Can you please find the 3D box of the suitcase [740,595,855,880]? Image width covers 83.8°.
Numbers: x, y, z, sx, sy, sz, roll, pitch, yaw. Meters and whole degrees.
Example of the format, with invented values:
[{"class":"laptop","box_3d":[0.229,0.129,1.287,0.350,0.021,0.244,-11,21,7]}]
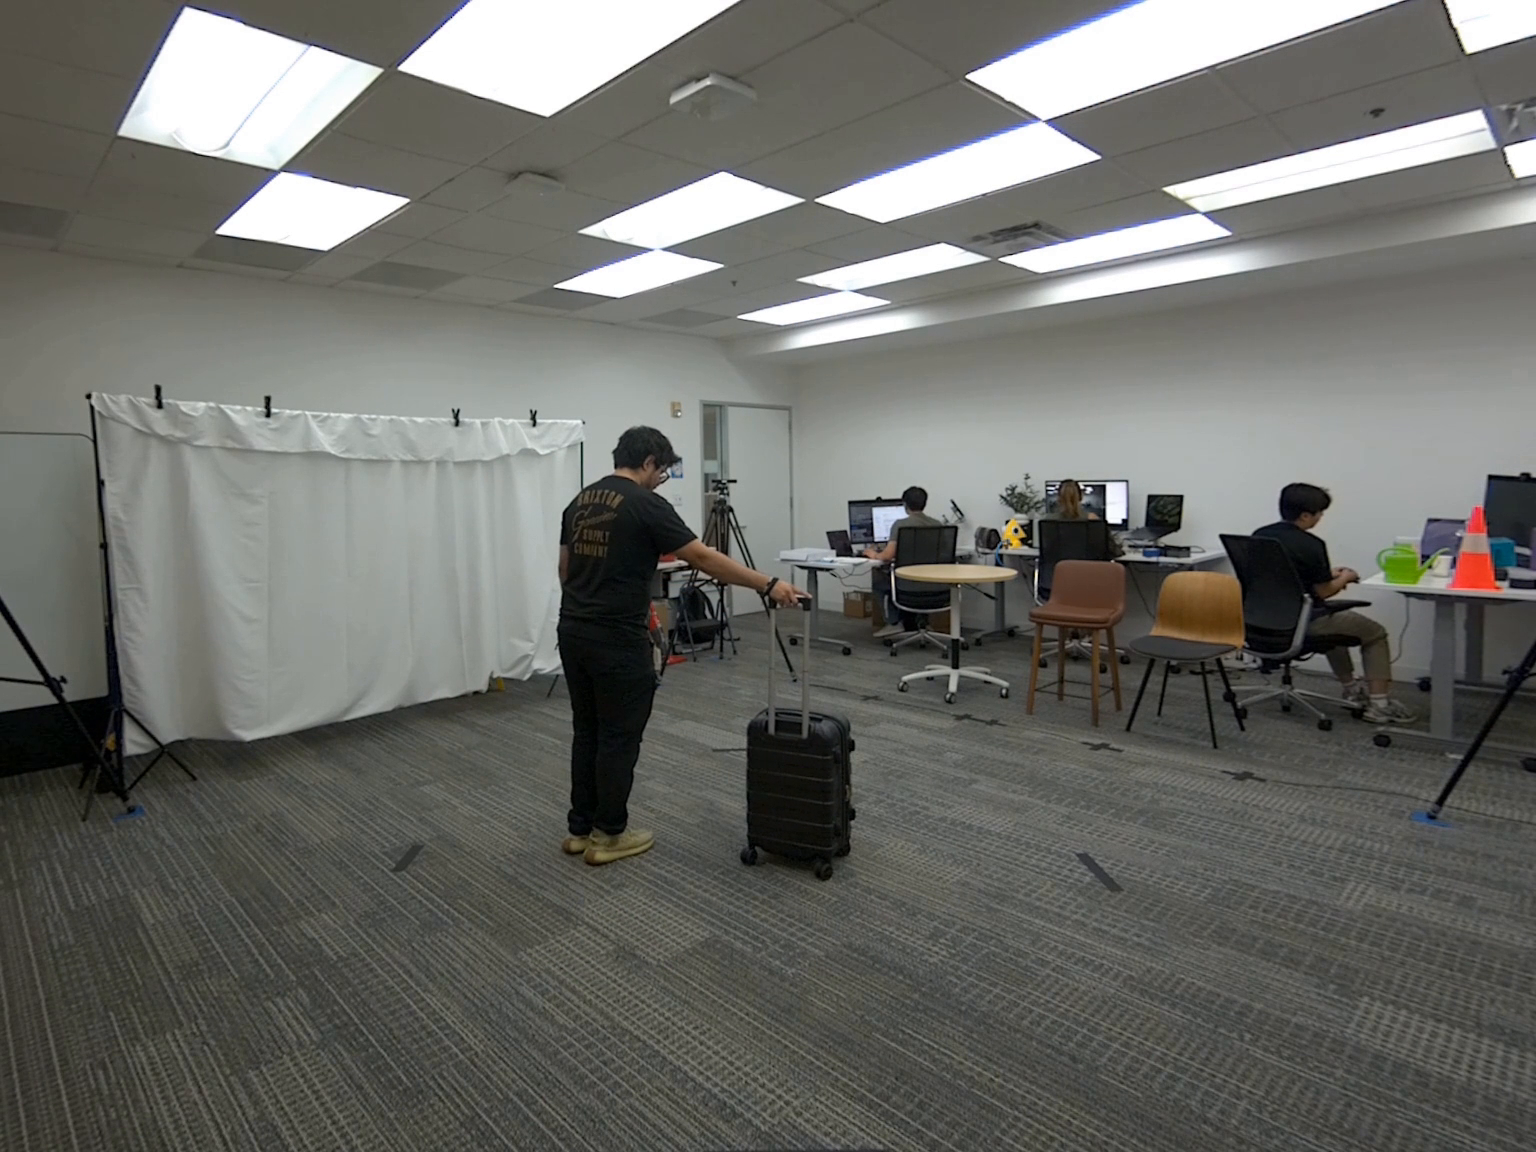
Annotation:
[{"class":"suitcase","box_3d":[0.112,0.561,3.150,0.392,0.979,0.251,0,-1,24]}]
